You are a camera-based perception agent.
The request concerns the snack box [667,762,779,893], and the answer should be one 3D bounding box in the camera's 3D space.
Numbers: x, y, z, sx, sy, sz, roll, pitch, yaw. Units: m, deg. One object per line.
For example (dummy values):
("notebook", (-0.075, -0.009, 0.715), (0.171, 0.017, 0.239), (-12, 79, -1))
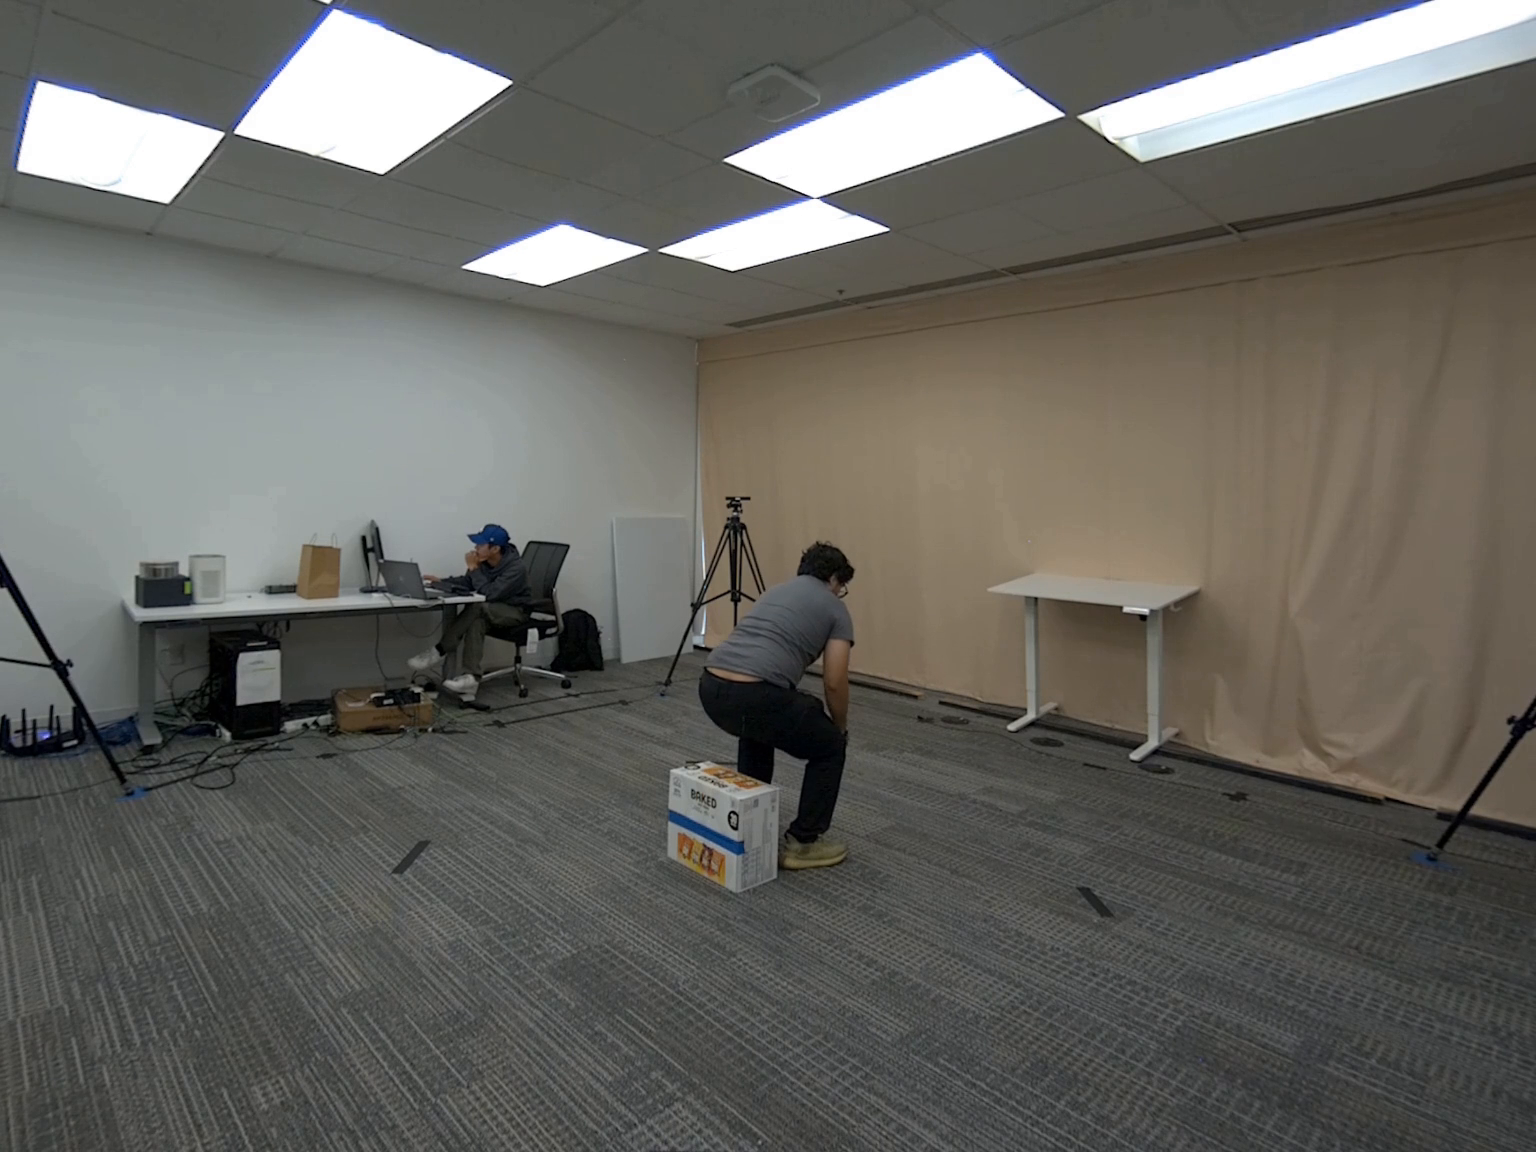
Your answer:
("snack box", (-0.180, 0.931, 3.164), (0.201, 0.339, 0.415), (-2, 5, -43))
